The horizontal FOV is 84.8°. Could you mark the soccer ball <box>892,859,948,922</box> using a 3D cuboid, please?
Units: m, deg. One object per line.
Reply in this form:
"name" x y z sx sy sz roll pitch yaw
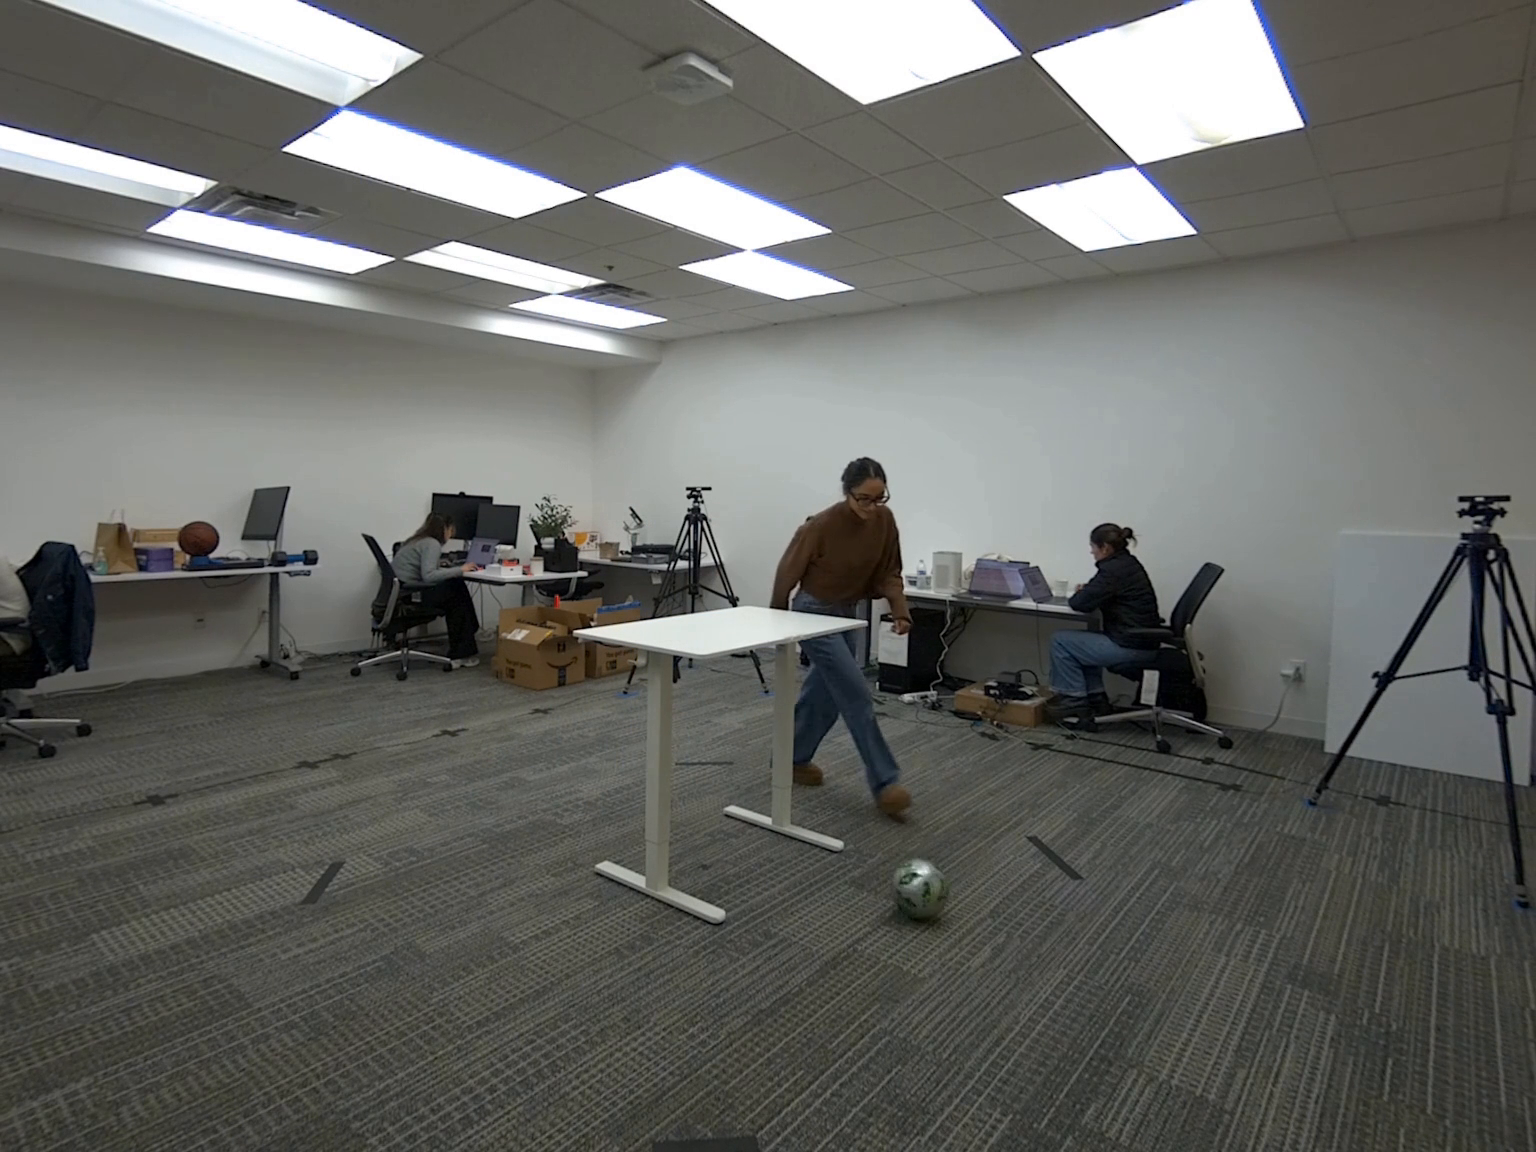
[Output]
"soccer ball" 0.489 1.020 2.786 0.187 0.187 0.188 1 4 -2
